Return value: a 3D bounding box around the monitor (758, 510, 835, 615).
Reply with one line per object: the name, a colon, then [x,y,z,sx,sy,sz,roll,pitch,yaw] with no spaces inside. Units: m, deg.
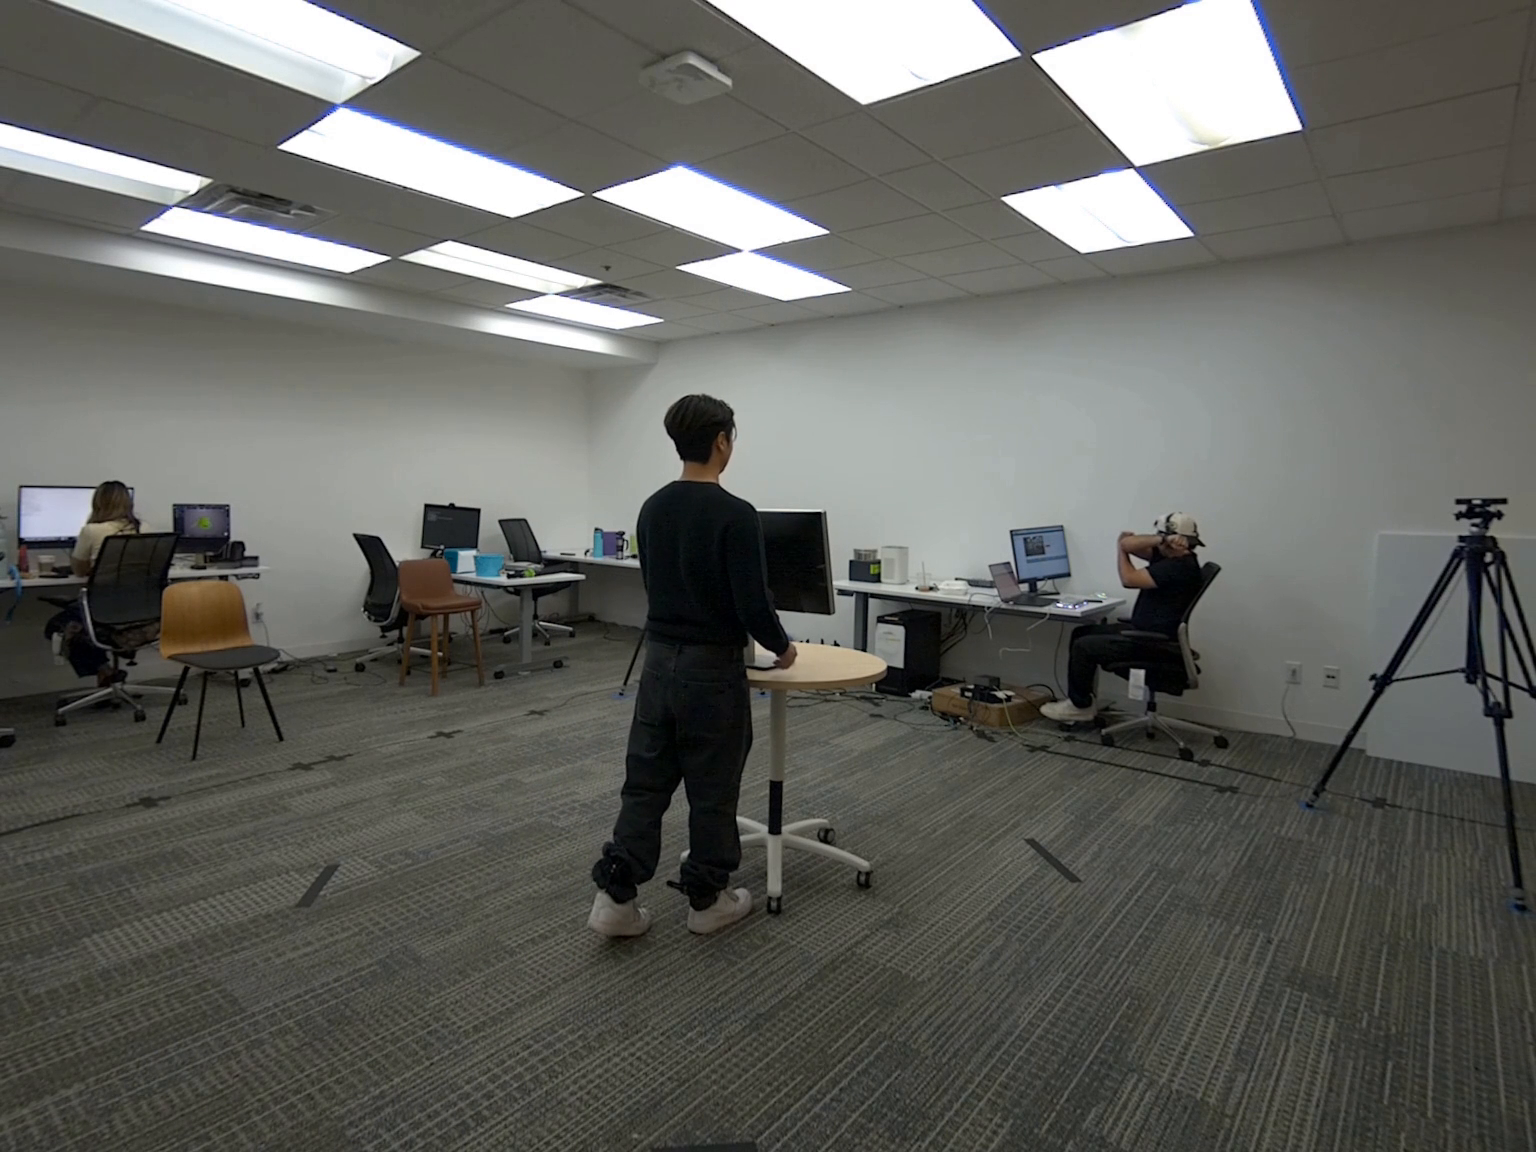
monitor: [-0.058,0.034,2.993,0.556,0.522,0.181,4,2,35]
